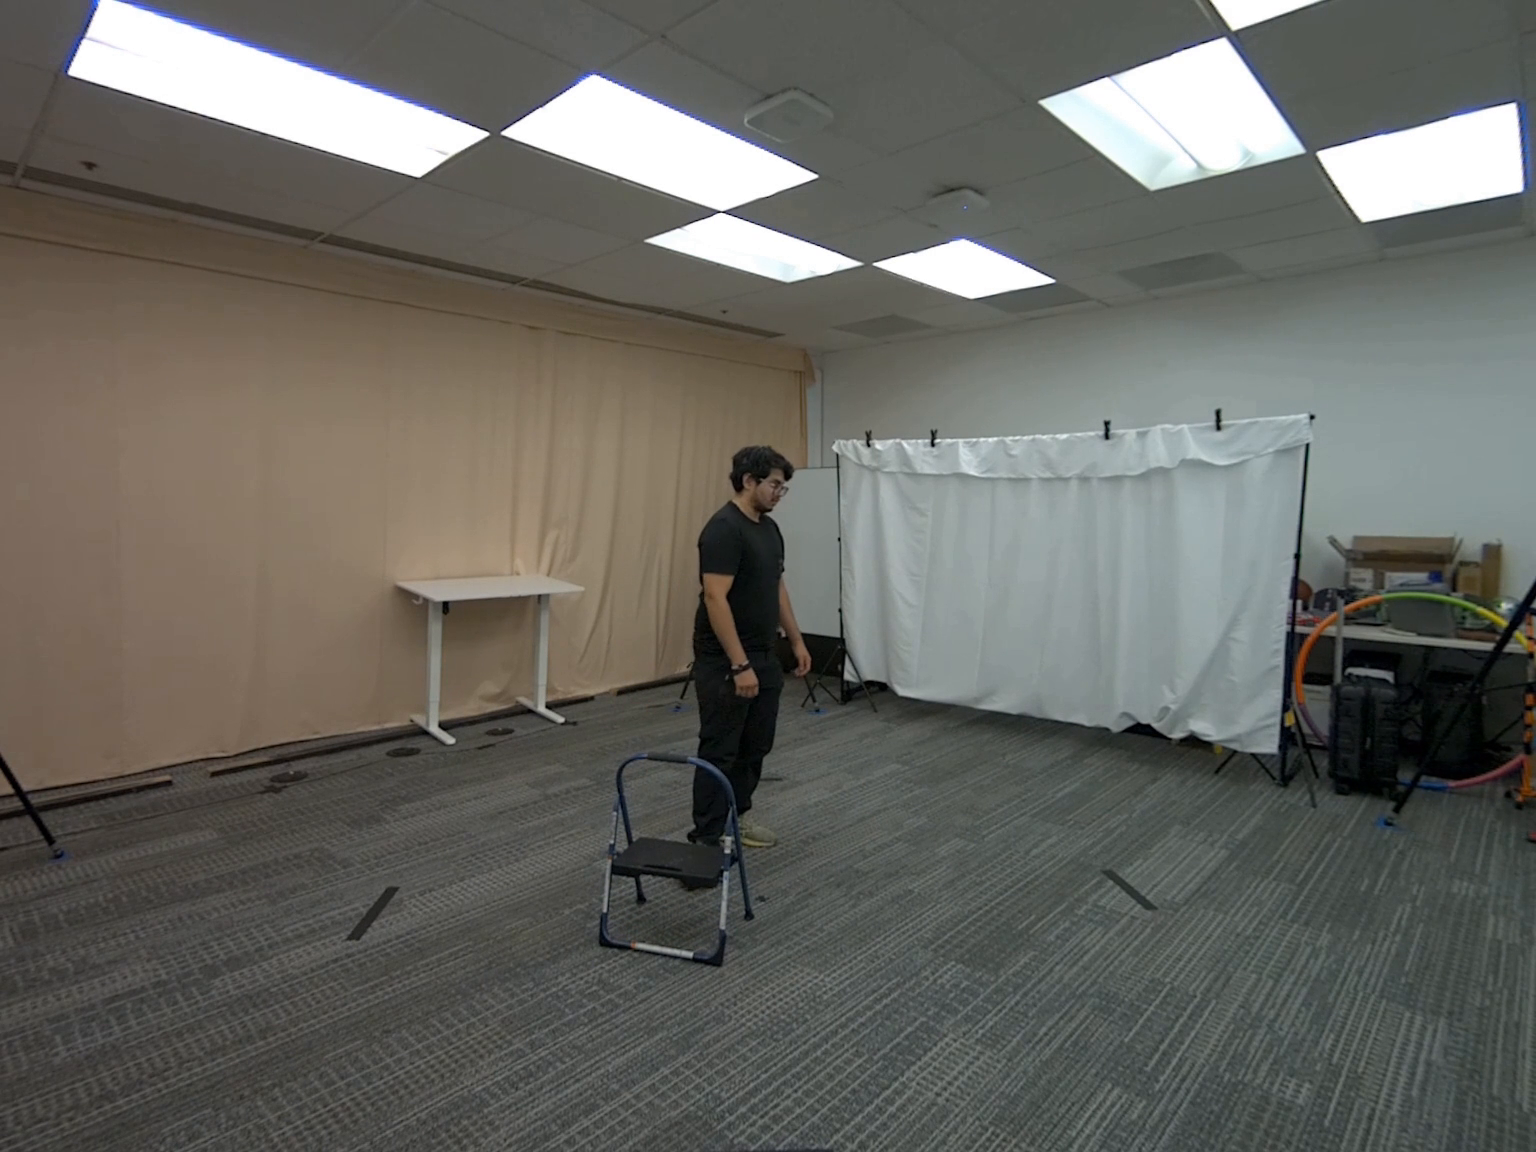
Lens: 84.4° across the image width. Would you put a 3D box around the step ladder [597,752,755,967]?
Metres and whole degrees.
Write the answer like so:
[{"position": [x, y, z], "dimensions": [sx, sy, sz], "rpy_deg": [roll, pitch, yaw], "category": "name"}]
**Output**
[{"position": [-0.299, 0.859, 2.748], "dimensions": [0.439, 0.605, 0.343], "rpy_deg": [0, 3, 17], "category": "step ladder"}]
